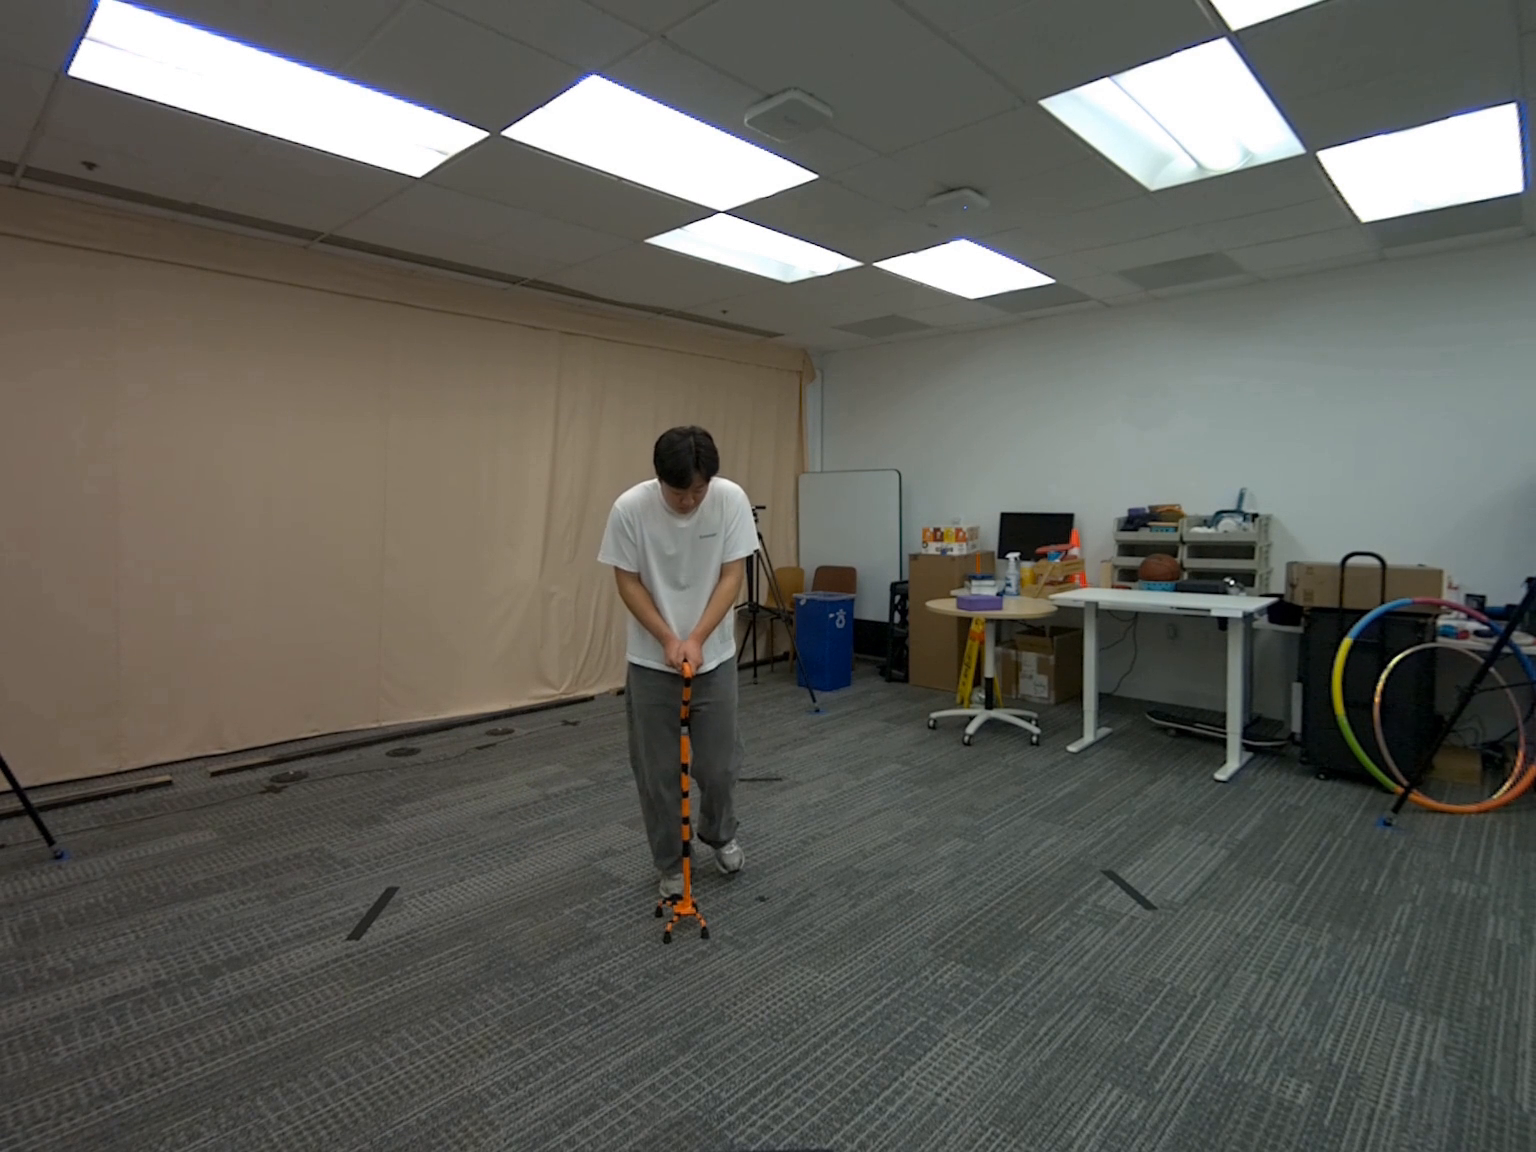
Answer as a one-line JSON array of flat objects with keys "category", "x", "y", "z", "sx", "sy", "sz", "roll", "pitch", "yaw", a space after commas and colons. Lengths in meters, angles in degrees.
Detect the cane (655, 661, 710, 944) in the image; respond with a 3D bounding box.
[{"category": "cane", "x": -0.285, "y": 0.710, "z": 2.763, "sx": 0.149, "sy": 0.906, "sz": 0.210, "roll": -1, "pitch": 4, "yaw": -16}]
